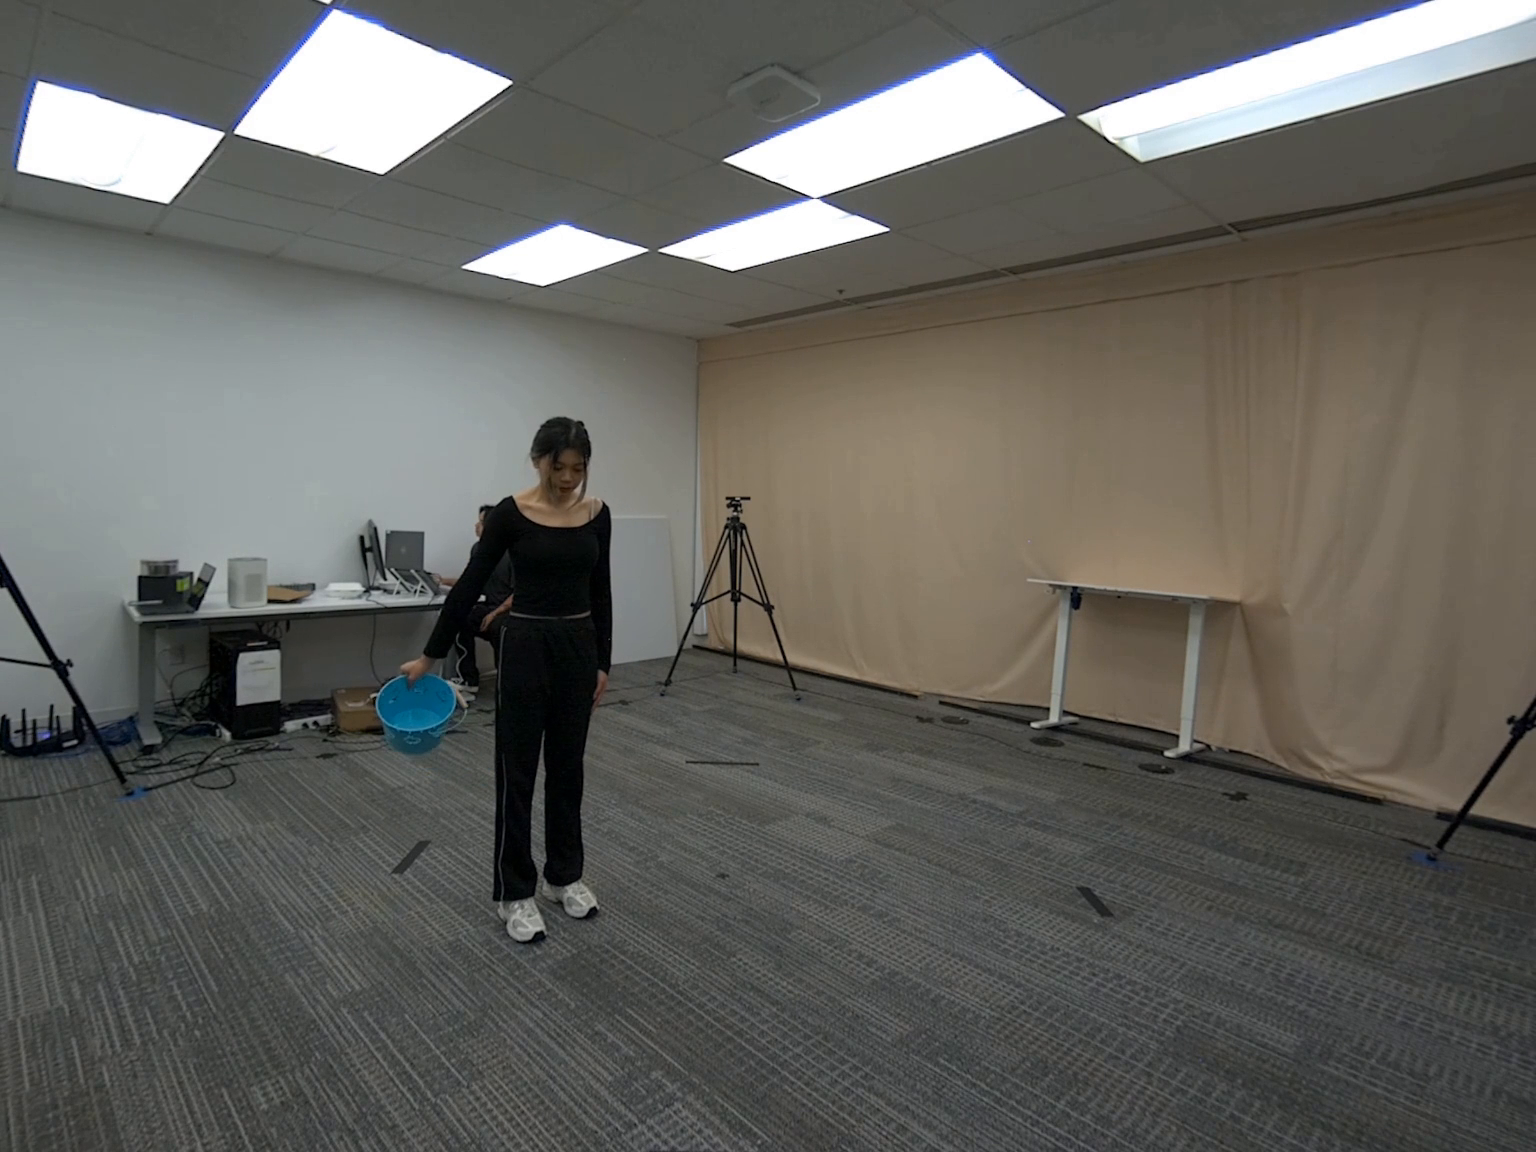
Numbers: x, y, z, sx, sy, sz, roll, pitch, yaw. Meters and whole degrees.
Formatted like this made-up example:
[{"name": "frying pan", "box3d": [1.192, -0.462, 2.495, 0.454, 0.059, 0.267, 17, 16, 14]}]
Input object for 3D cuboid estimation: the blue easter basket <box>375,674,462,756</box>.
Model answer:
[{"name": "blue easter basket", "box3d": [-1.100, 0.445, 2.644, 0.242, 0.153, 0.249, 9, 39, -9]}]
